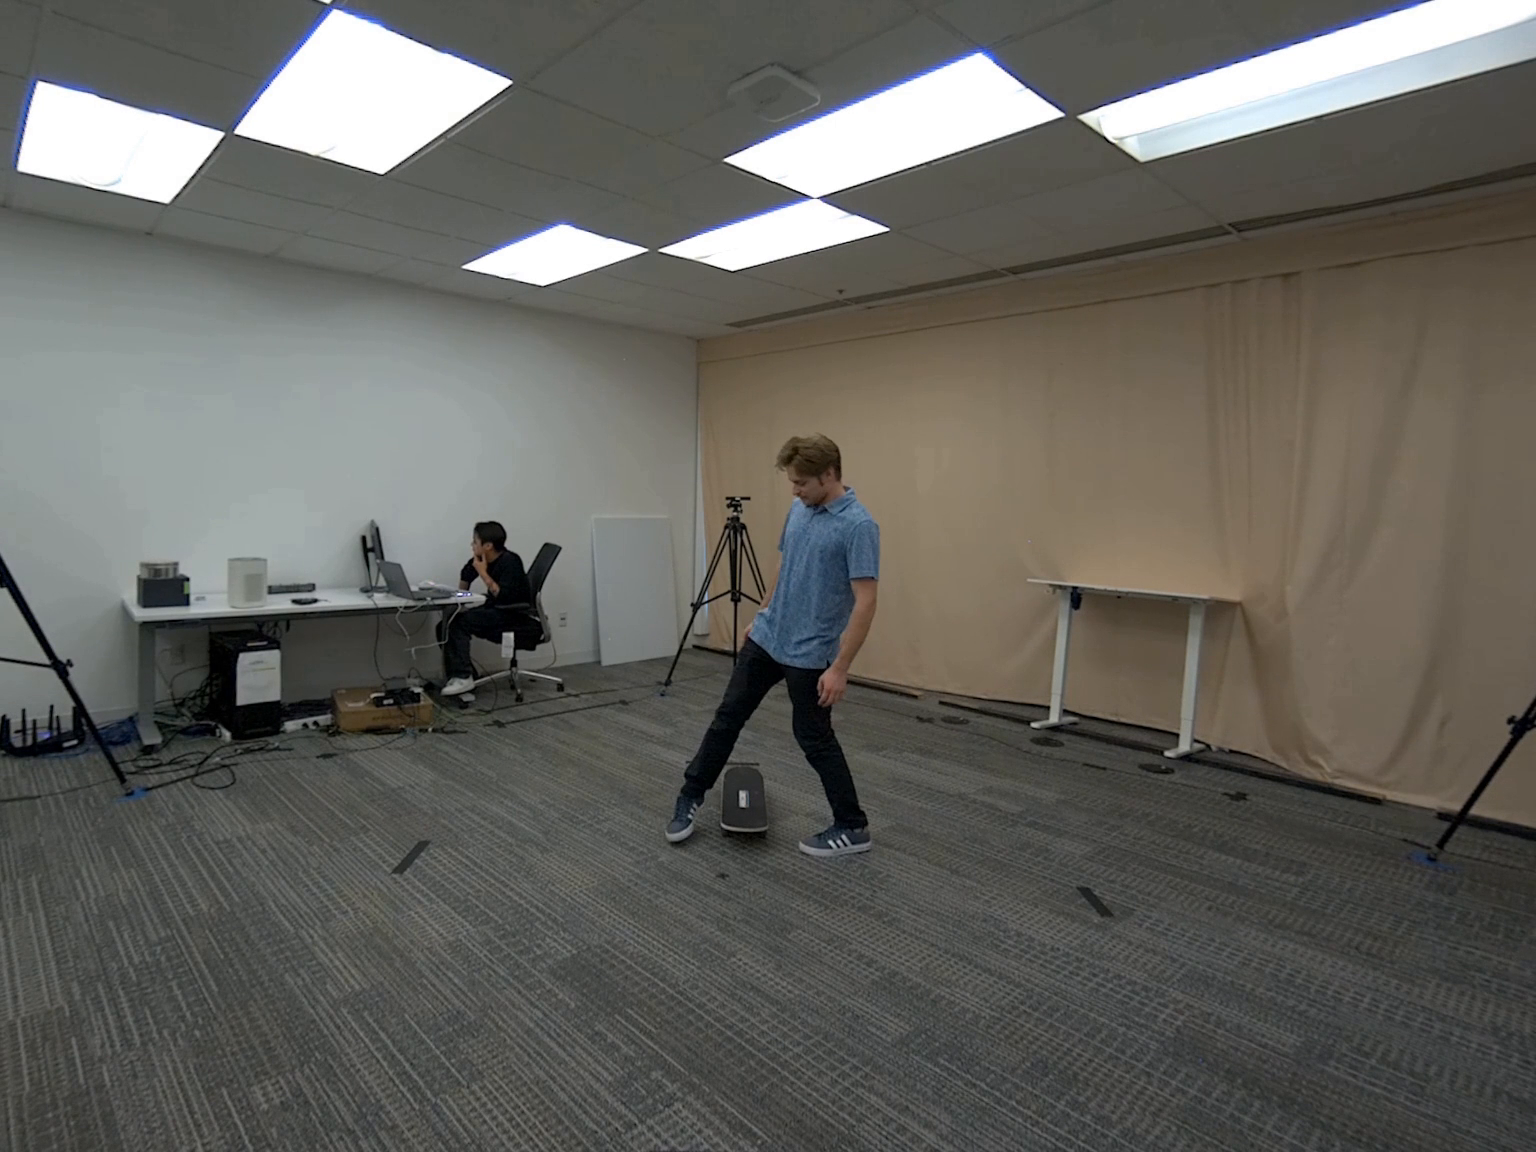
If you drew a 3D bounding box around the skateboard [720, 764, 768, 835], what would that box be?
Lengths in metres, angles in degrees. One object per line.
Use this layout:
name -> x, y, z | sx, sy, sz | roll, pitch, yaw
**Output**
skateboard -> -0.115, 1.001, 3.672 | 0.193, 0.110, 0.788 | 1, 5, -2
